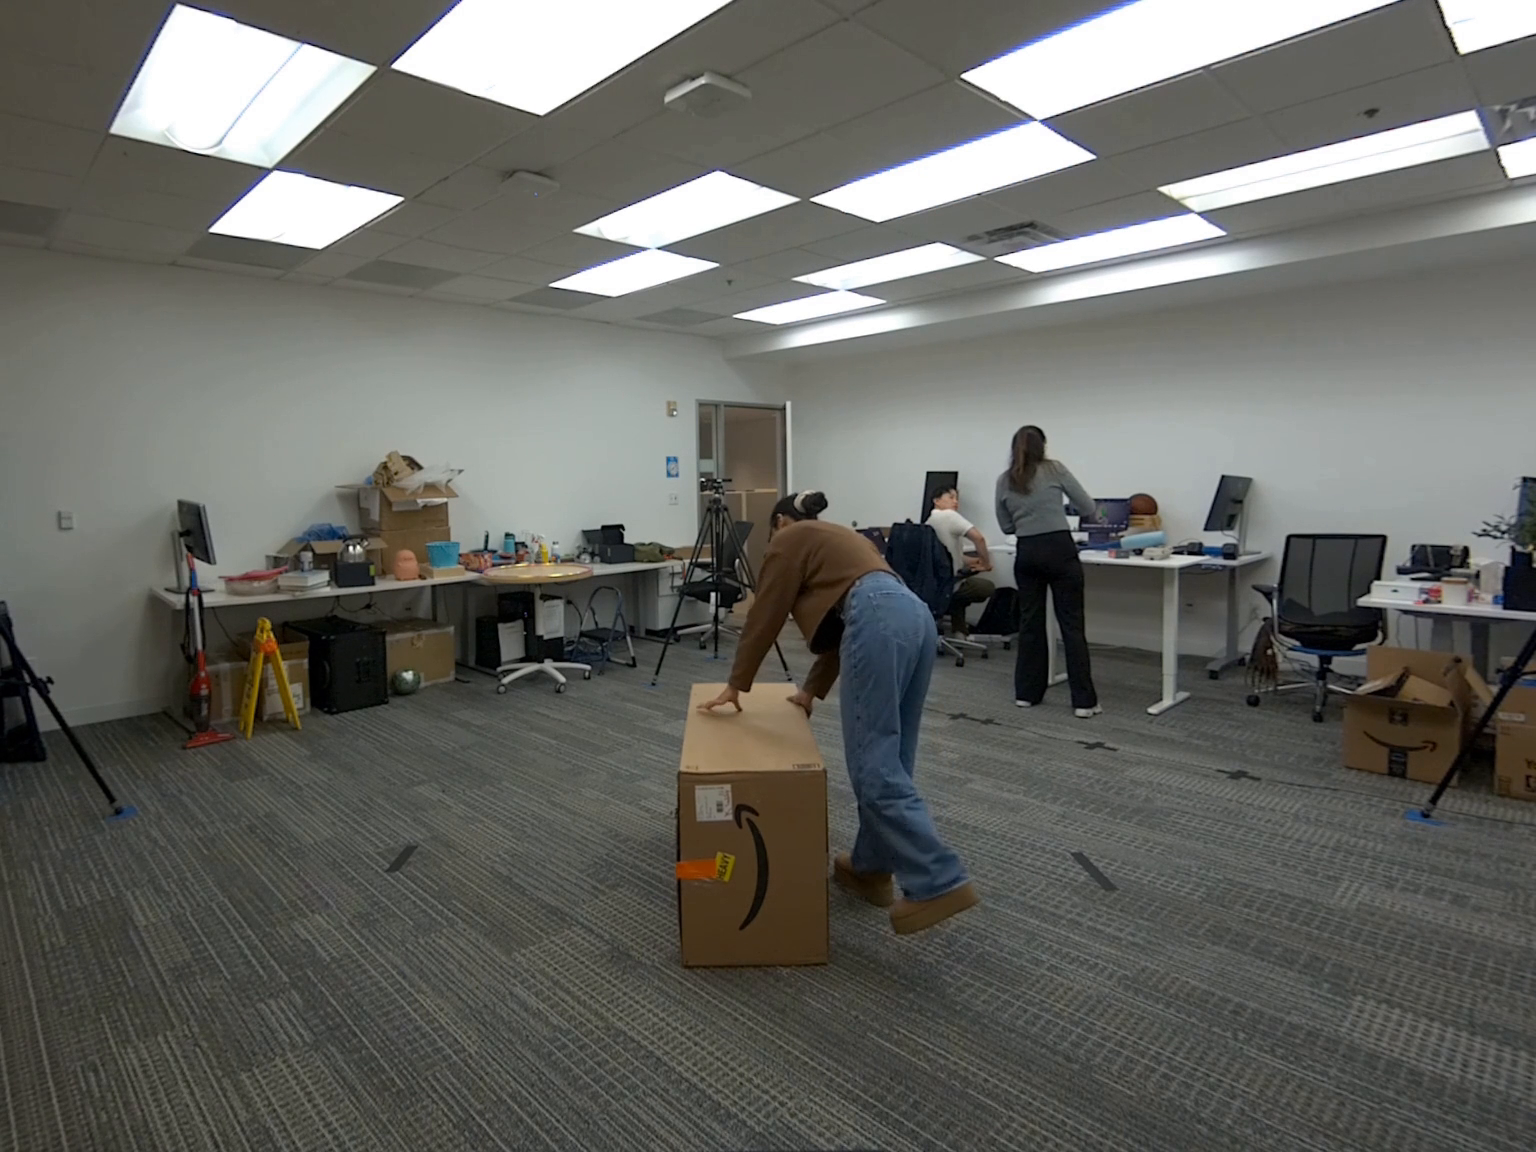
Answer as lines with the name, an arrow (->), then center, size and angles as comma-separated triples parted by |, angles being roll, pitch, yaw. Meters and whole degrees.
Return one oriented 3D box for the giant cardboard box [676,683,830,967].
giant cardboard box -> -0.068, 0.775, 2.941 | 0.446, 0.581, 1.033 | 0, 6, -2
